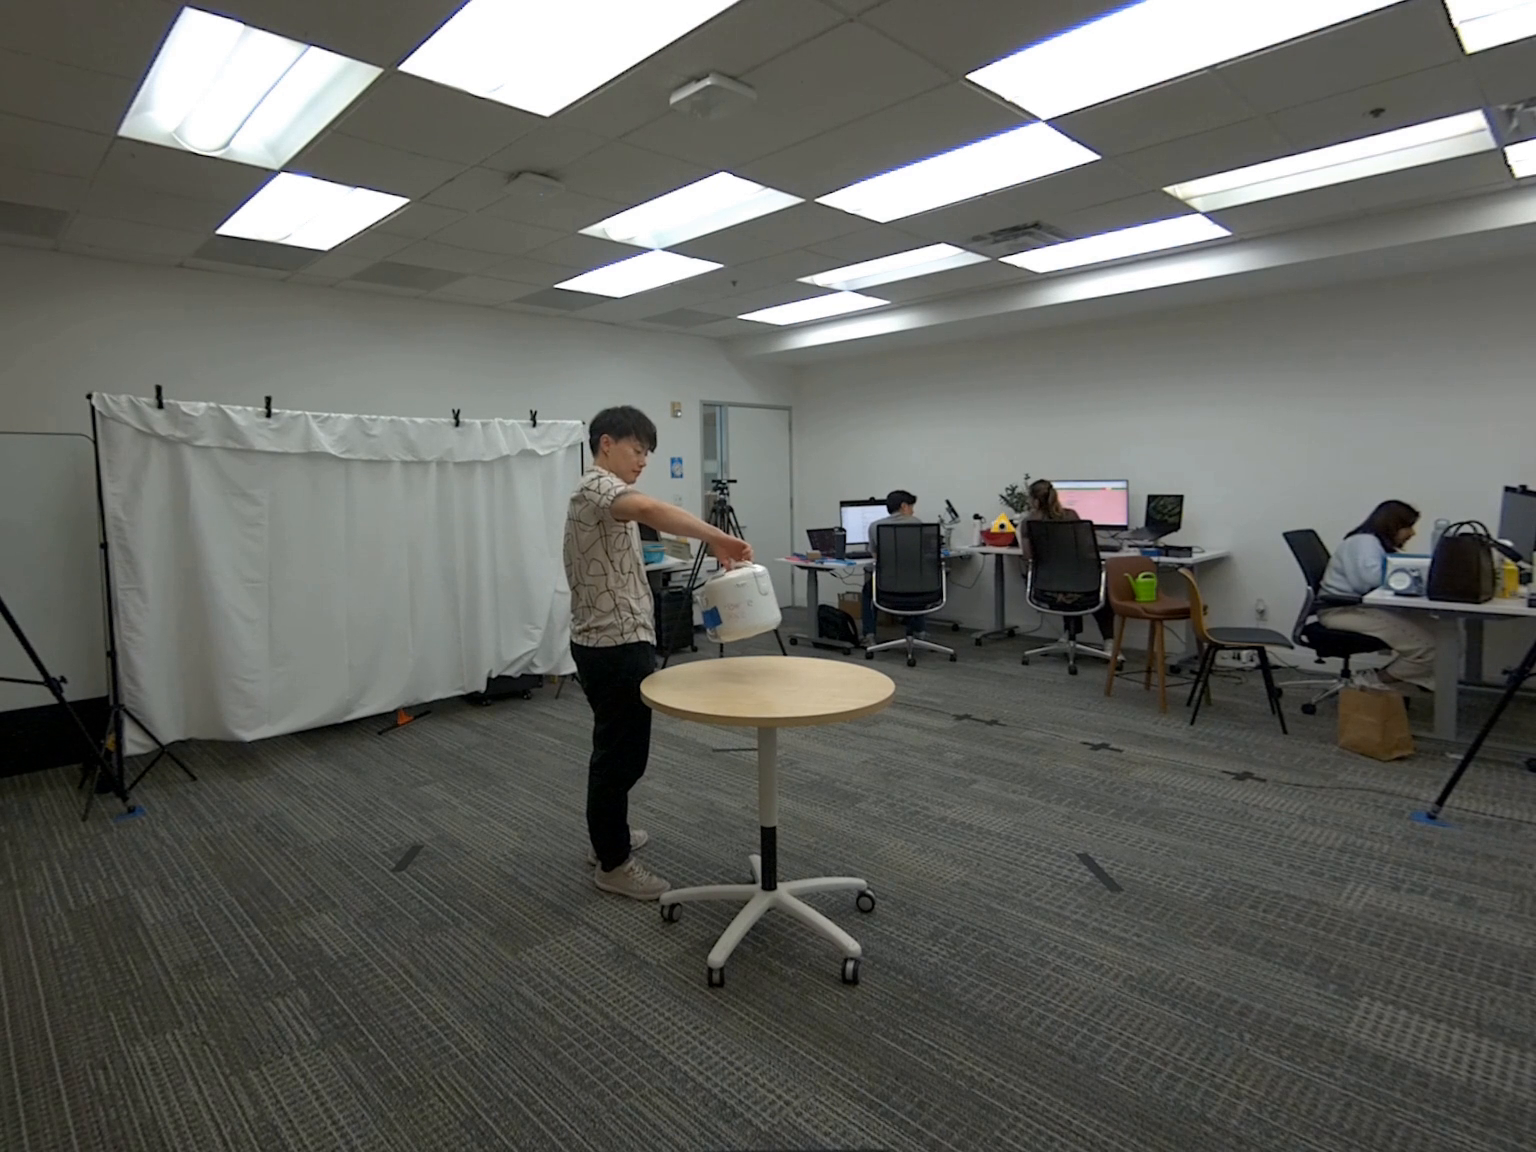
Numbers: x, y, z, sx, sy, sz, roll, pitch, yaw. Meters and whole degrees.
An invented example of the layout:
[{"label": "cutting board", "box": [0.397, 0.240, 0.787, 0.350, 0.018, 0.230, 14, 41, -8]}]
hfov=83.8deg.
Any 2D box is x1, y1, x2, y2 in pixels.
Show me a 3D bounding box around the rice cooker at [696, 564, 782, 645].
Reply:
[{"label": "rice cooker", "box": [-0.084, 0.071, 2.663, 0.225, 0.233, 0.213, -18, -2, 45]}]
